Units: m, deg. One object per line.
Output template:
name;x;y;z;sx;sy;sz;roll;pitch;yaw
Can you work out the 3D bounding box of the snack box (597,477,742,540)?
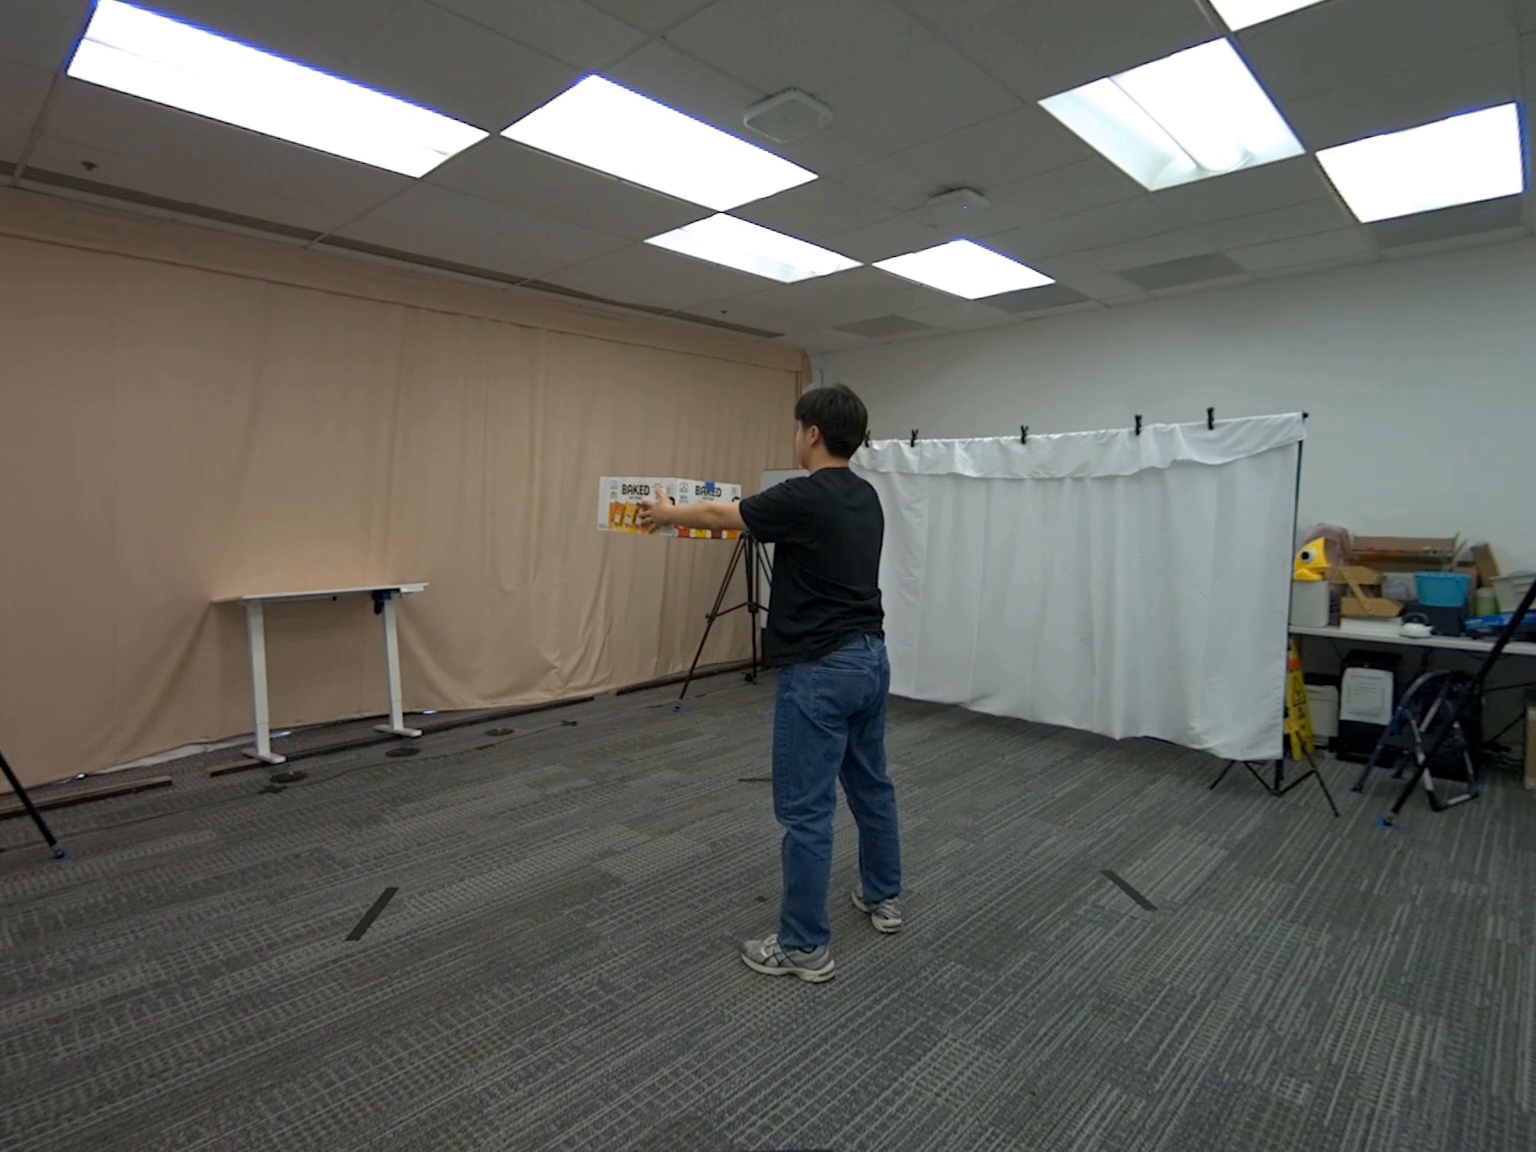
snack box;-0.365;-0.253;3.127;0.419;0.205;0.329;6;3;41
